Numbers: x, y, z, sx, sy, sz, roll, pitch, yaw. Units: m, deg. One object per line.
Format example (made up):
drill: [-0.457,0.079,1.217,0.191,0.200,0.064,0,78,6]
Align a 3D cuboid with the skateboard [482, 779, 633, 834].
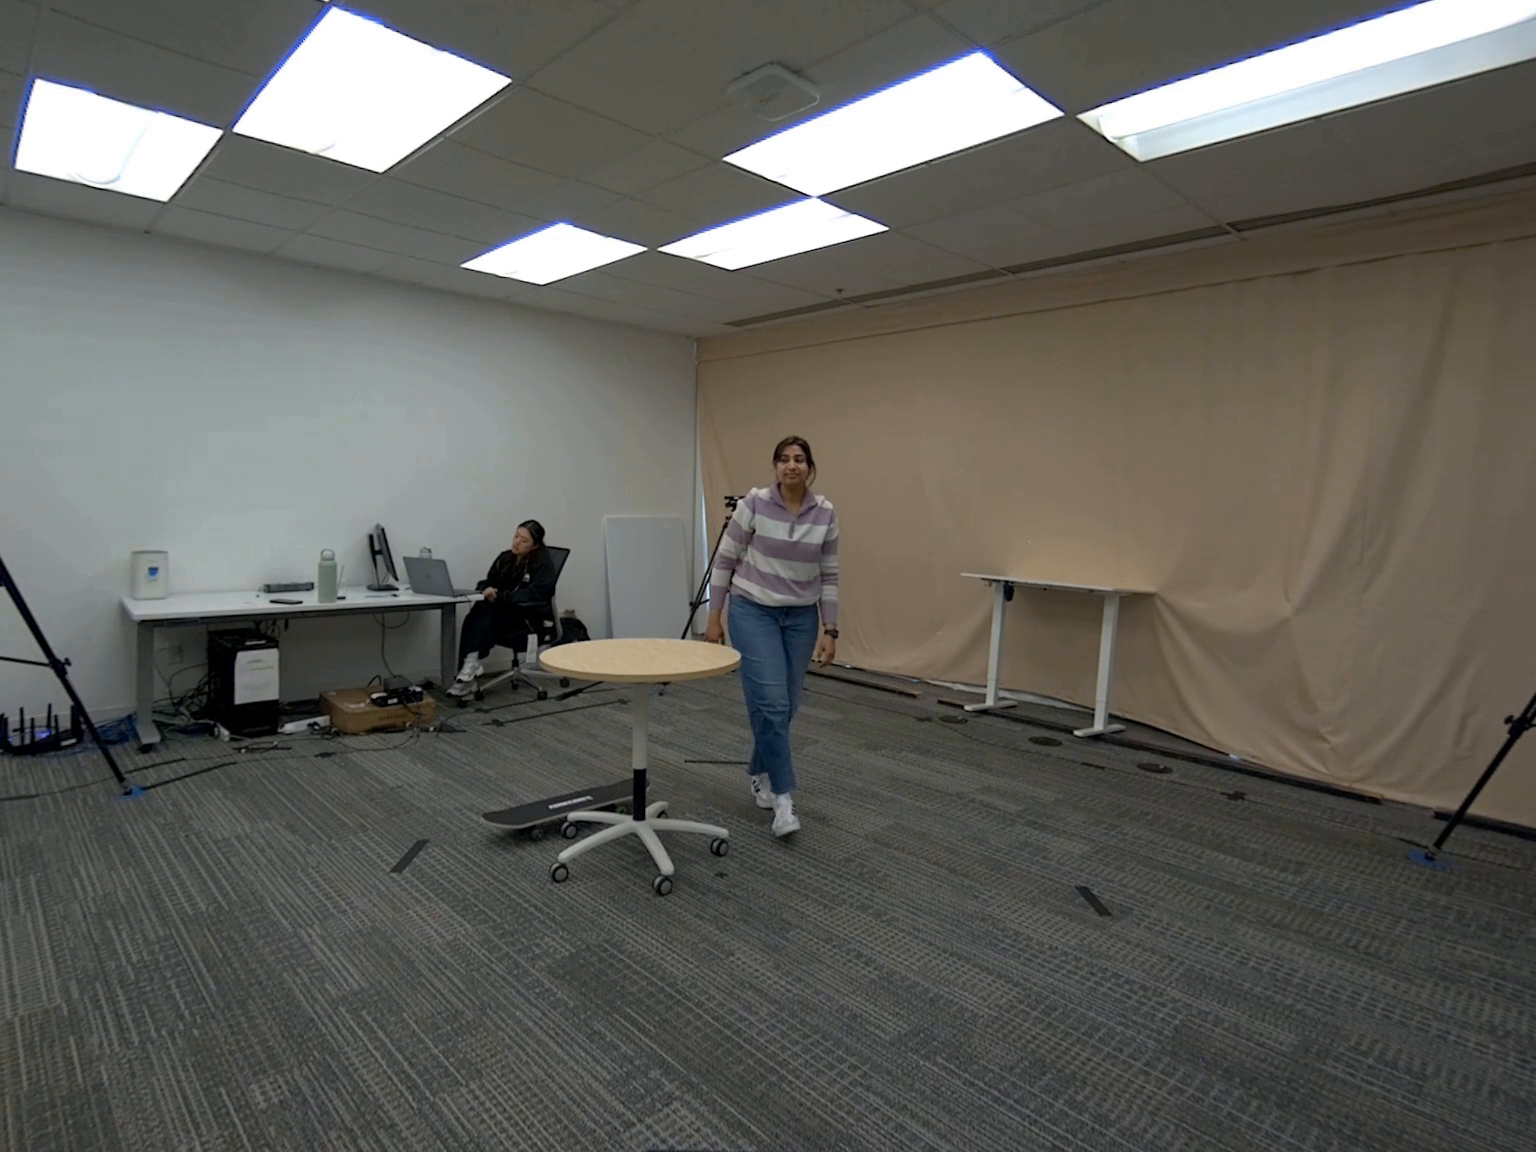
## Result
skateboard: [-0.830,0.983,3.554,0.768,0.110,0.198,-3,6,-43]
